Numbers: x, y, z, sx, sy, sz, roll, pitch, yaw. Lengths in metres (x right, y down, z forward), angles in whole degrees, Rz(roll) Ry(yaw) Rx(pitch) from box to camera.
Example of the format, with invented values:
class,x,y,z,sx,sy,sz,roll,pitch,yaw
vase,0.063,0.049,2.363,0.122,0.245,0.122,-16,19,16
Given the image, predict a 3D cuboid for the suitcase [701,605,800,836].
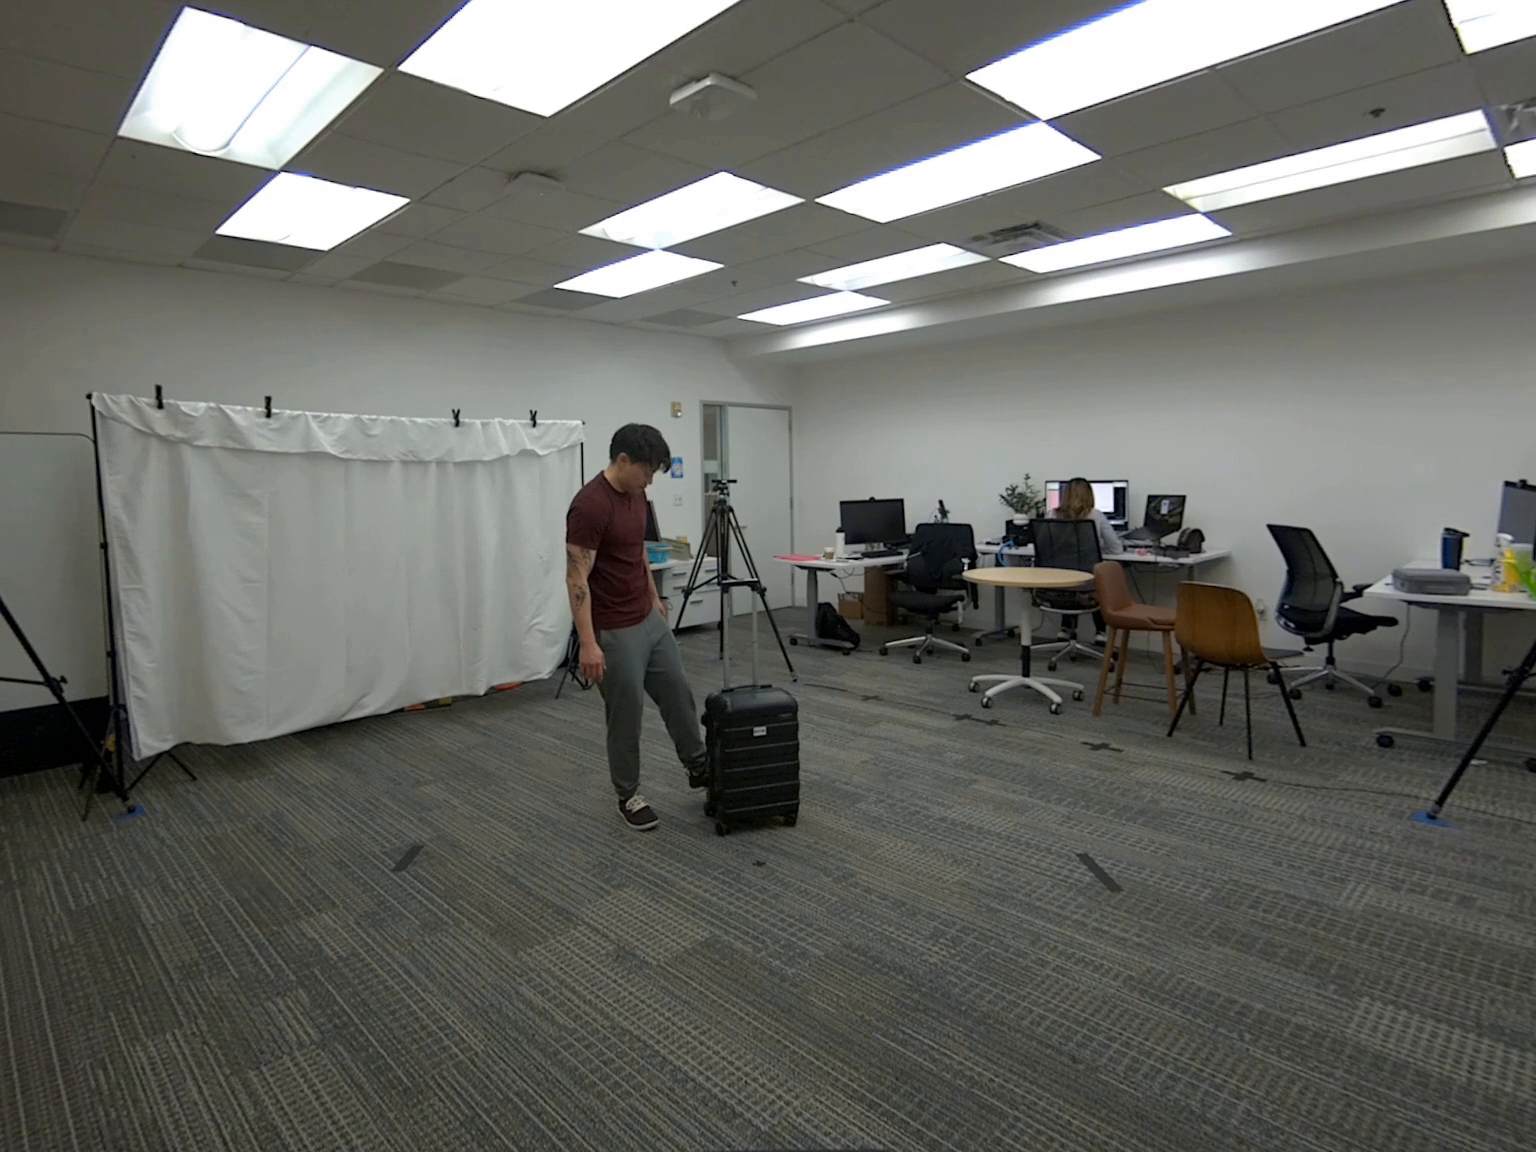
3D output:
class,x,y,z,sx,sy,sz,roll,pitch,yaw
suitcase,-0.065,0.533,3.471,0.378,0.975,0.262,-2,5,-17
